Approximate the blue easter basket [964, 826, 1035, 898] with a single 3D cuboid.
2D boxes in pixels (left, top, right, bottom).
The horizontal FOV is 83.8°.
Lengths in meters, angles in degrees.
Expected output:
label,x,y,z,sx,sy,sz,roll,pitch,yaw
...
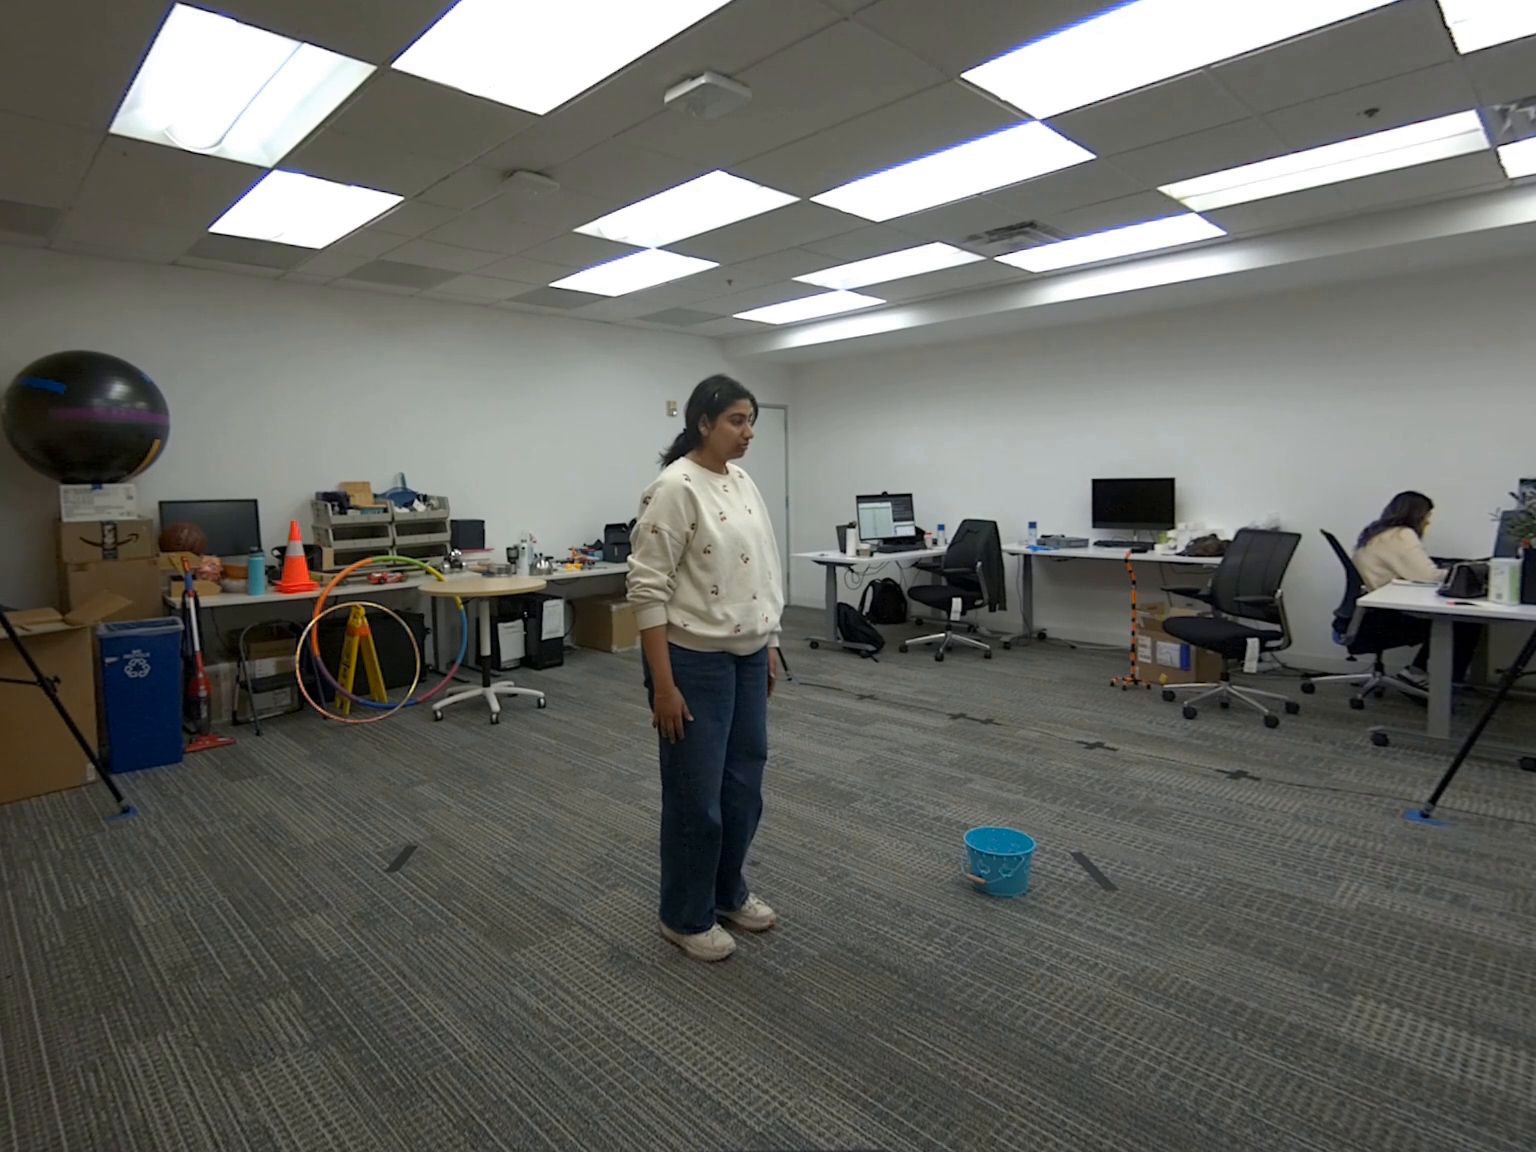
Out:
label,x,y,z,sx,sy,sz,roll,pitch,yaw
blue easter basket,0.788,0.970,2.915,0.243,0.155,0.245,-2,5,-2
